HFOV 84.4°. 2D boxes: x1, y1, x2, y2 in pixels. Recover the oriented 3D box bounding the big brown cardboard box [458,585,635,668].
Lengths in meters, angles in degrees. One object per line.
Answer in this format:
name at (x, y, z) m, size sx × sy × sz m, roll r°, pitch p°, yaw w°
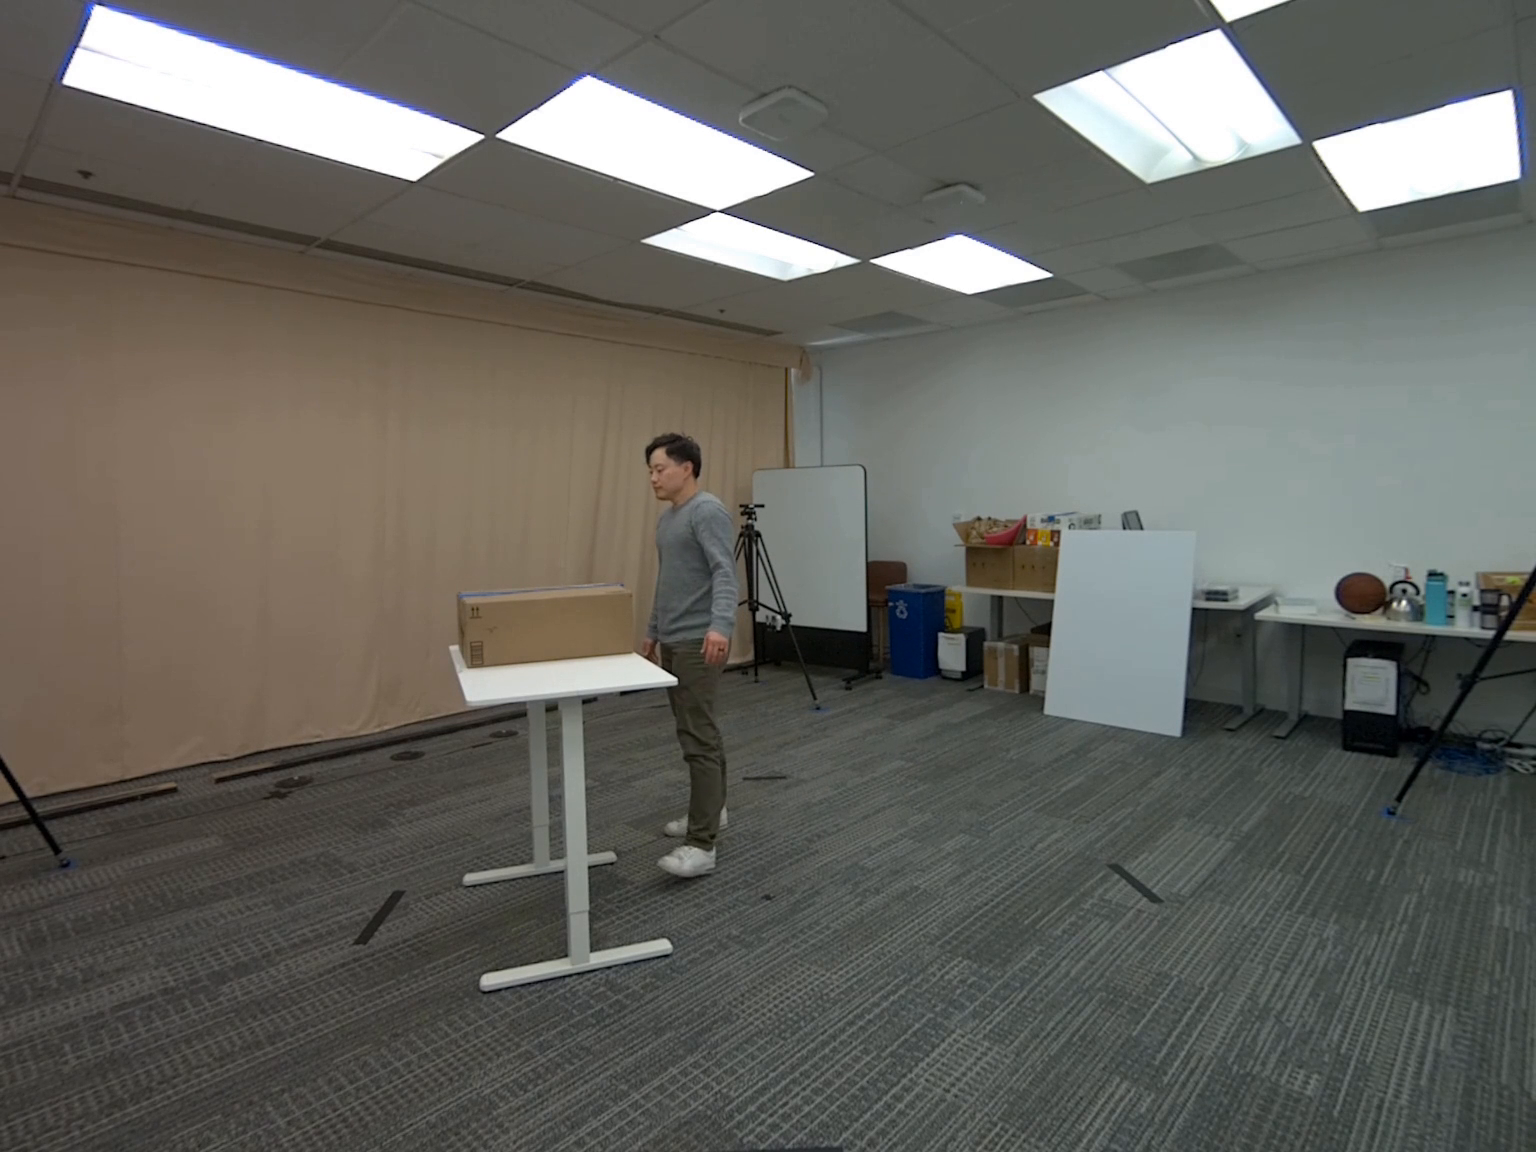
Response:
big brown cardboard box at (-0.809, 0.164, 3.026) m, size 0.576 × 0.232 × 0.428 m, roll -4°, pitch 6°, yaw -23°
